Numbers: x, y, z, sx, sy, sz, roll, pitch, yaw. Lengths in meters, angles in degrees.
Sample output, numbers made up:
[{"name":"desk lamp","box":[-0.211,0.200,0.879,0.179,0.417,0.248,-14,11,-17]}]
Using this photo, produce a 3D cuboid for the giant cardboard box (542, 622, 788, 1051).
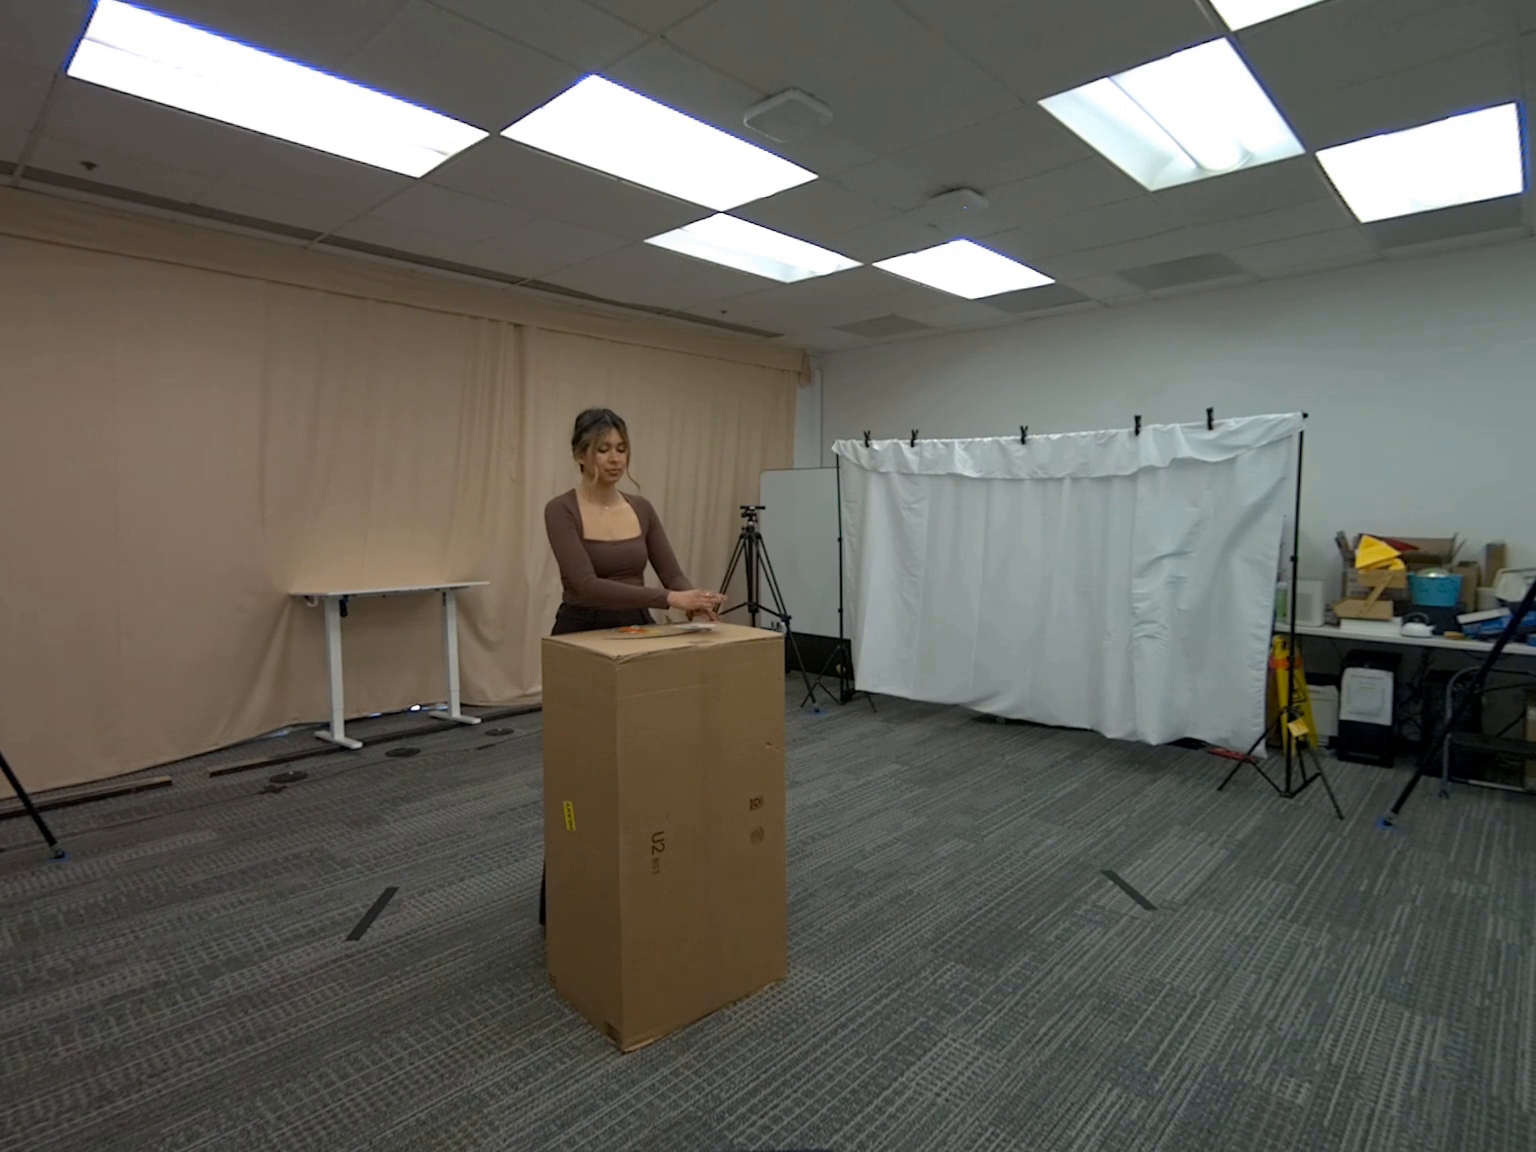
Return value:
[{"name":"giant cardboard box","box":[-0.293,0.680,2.452,0.566,1.026,0.461,-2,3,-39]}]
